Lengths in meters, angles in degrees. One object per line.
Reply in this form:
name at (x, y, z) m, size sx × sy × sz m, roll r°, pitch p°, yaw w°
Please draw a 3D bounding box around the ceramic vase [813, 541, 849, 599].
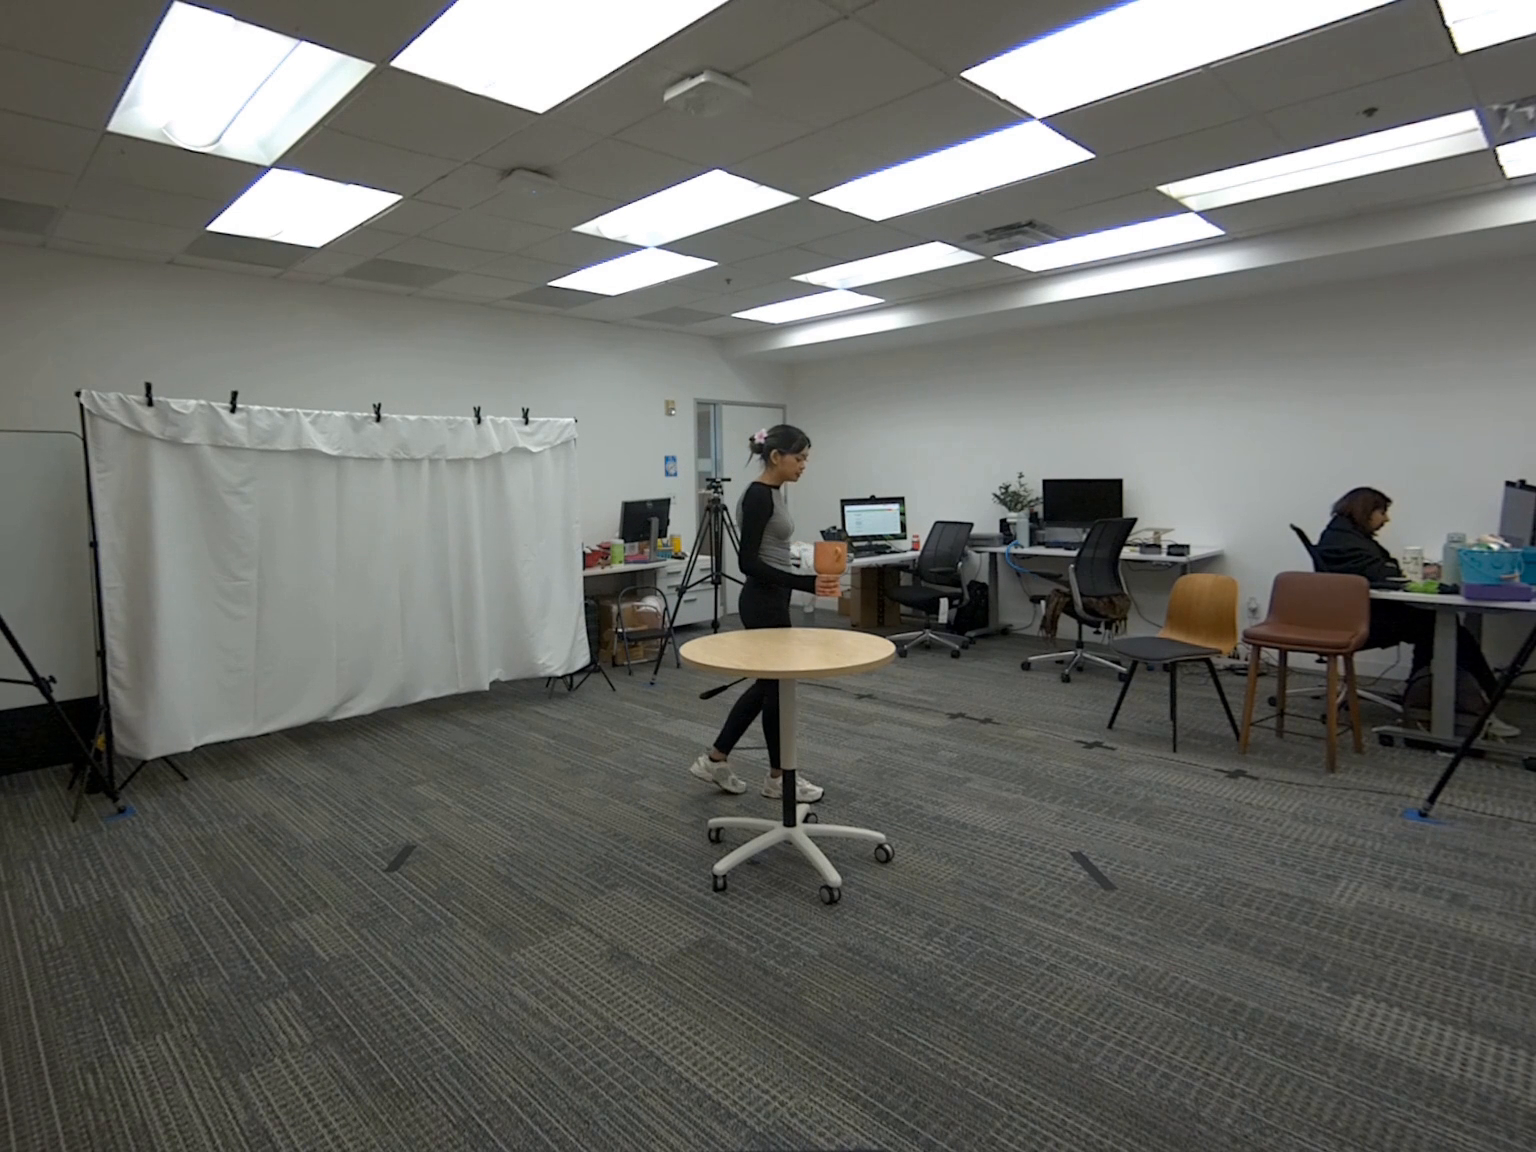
ceramic vase at (0.247, -0.027, 3.473) m, size 0.137 × 0.220 × 0.155 m, roll 1°, pitch -3°, yaw 22°
